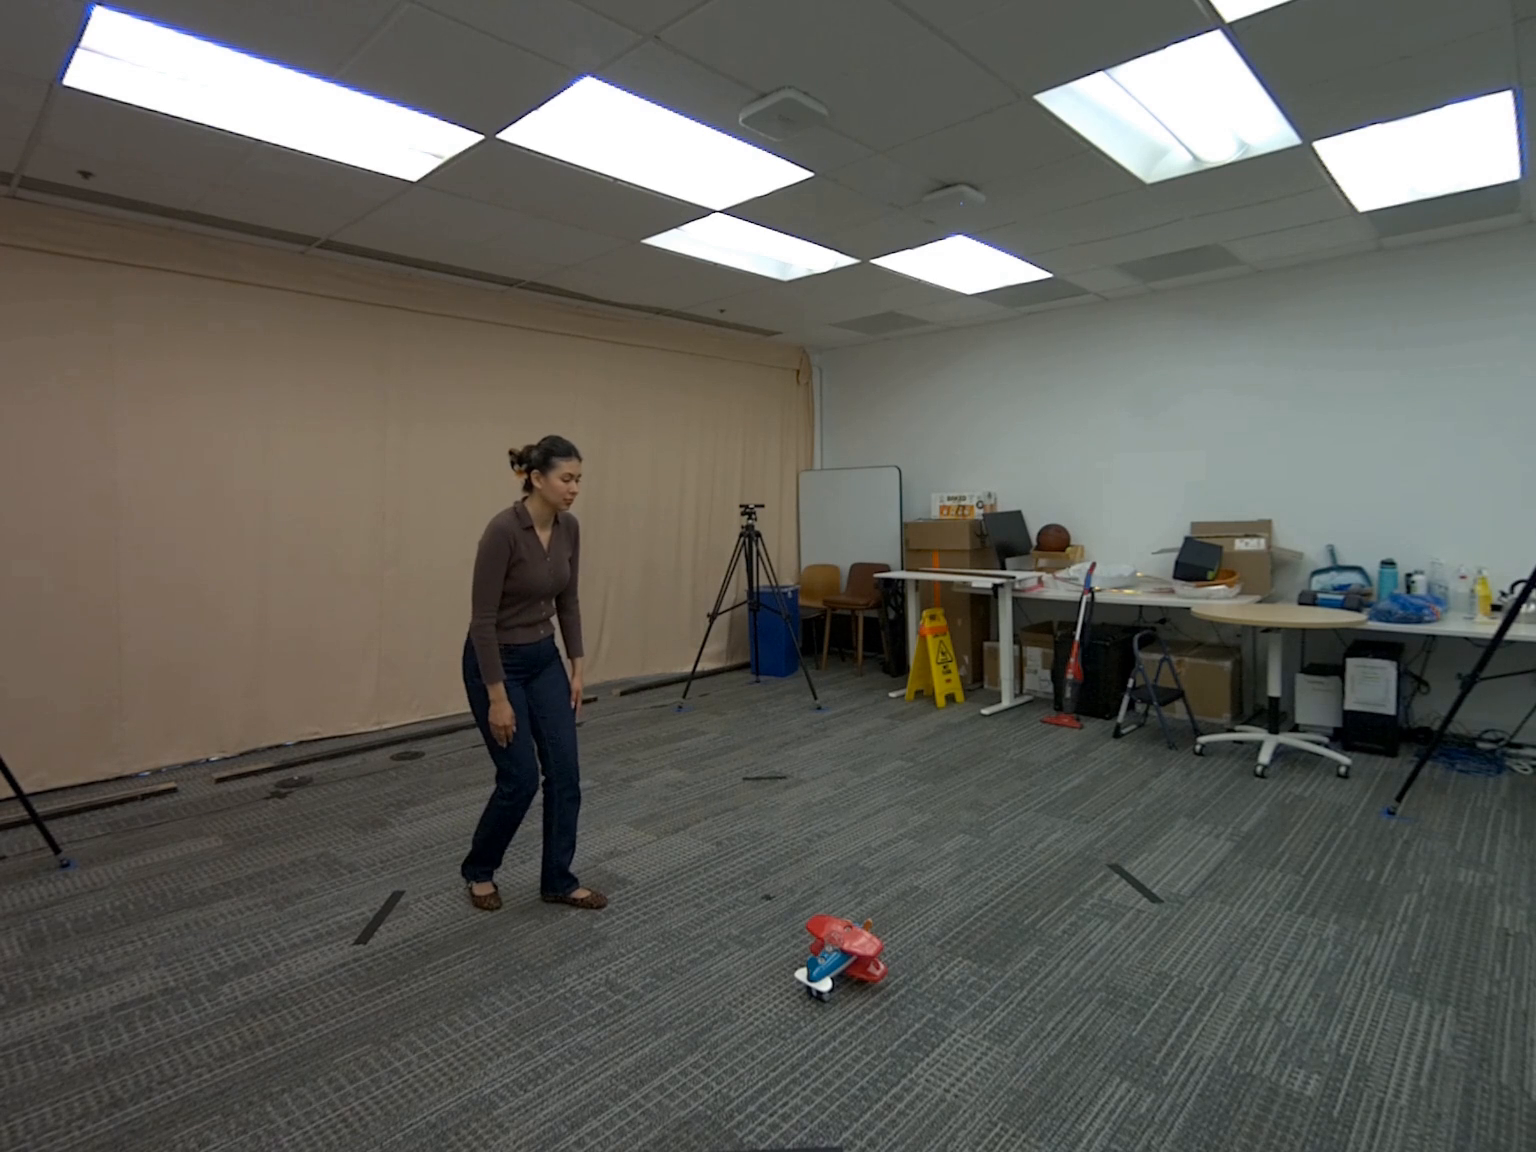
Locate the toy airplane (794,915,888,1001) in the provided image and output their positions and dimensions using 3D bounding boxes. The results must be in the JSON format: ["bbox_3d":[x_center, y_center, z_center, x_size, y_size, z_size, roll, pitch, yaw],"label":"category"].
[{"bbox_3d":[0.219,1.110,2.419,0.256,0.156,0.254,2,3,17],"label":"toy airplane"}]
